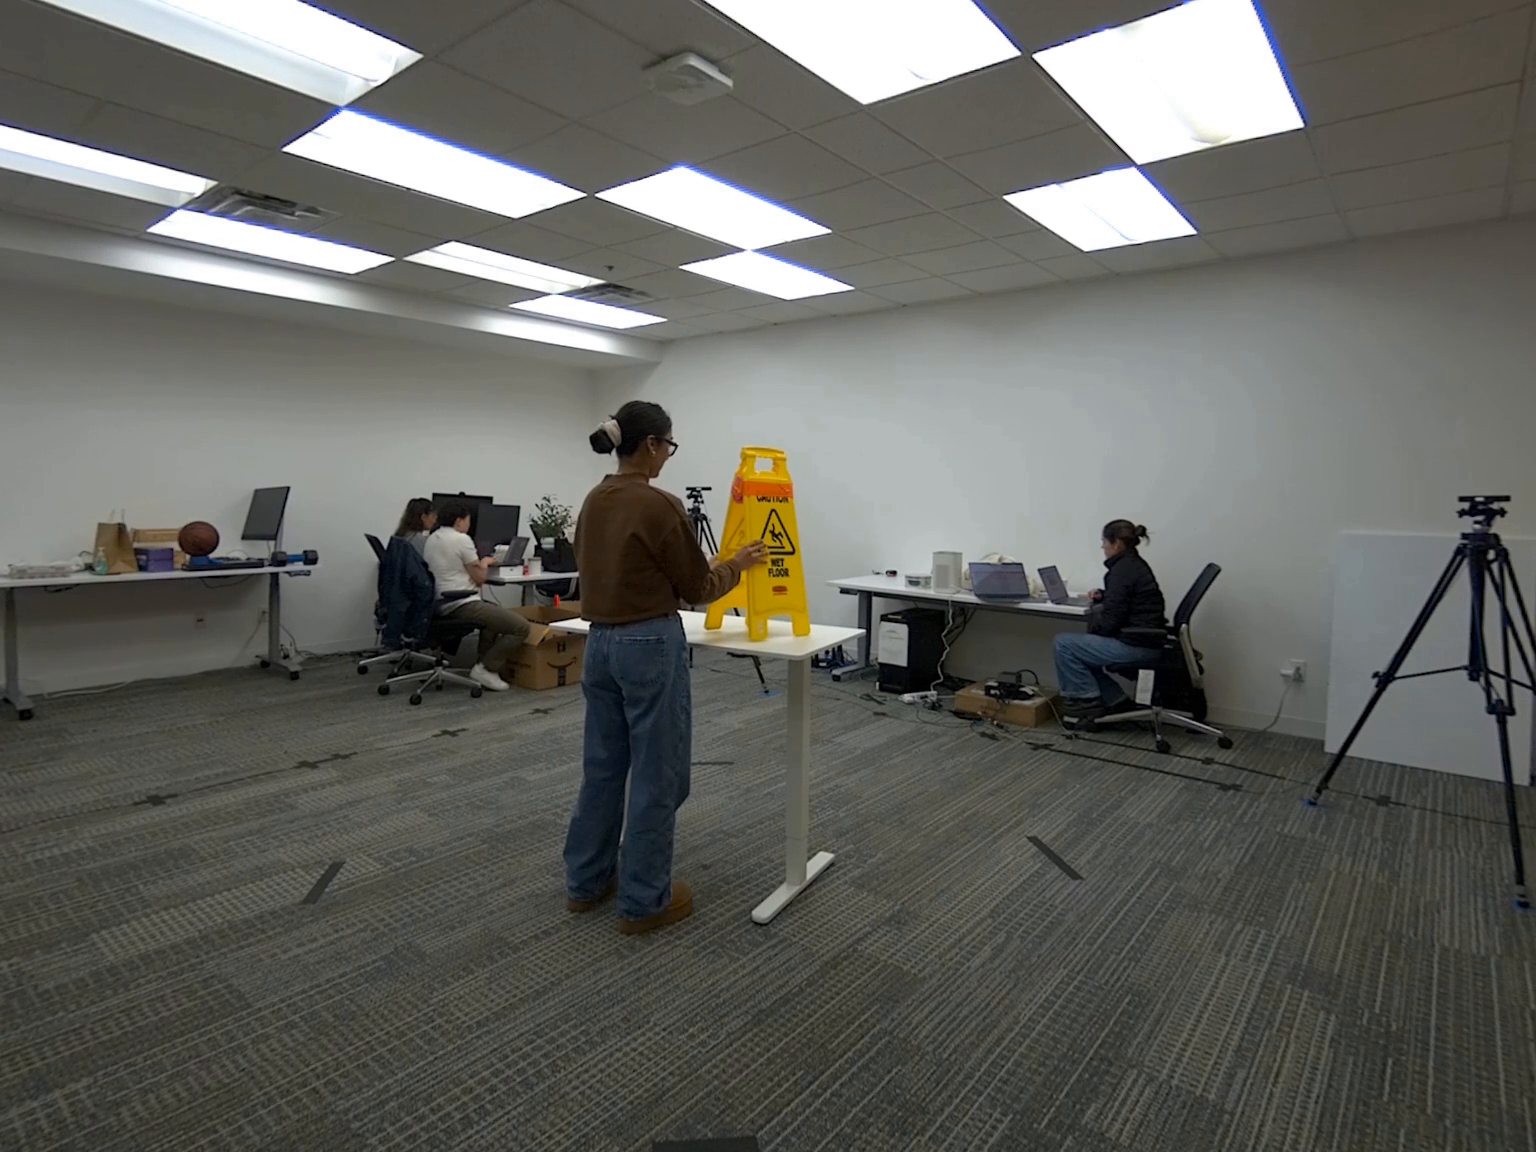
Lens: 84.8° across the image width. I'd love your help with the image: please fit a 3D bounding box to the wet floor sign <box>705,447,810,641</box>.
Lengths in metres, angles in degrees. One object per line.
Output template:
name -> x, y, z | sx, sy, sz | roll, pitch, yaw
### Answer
wet floor sign -> -0.038, -0.127, 2.987 | 0.273, 0.645, 0.299 | 1, 2, -42
